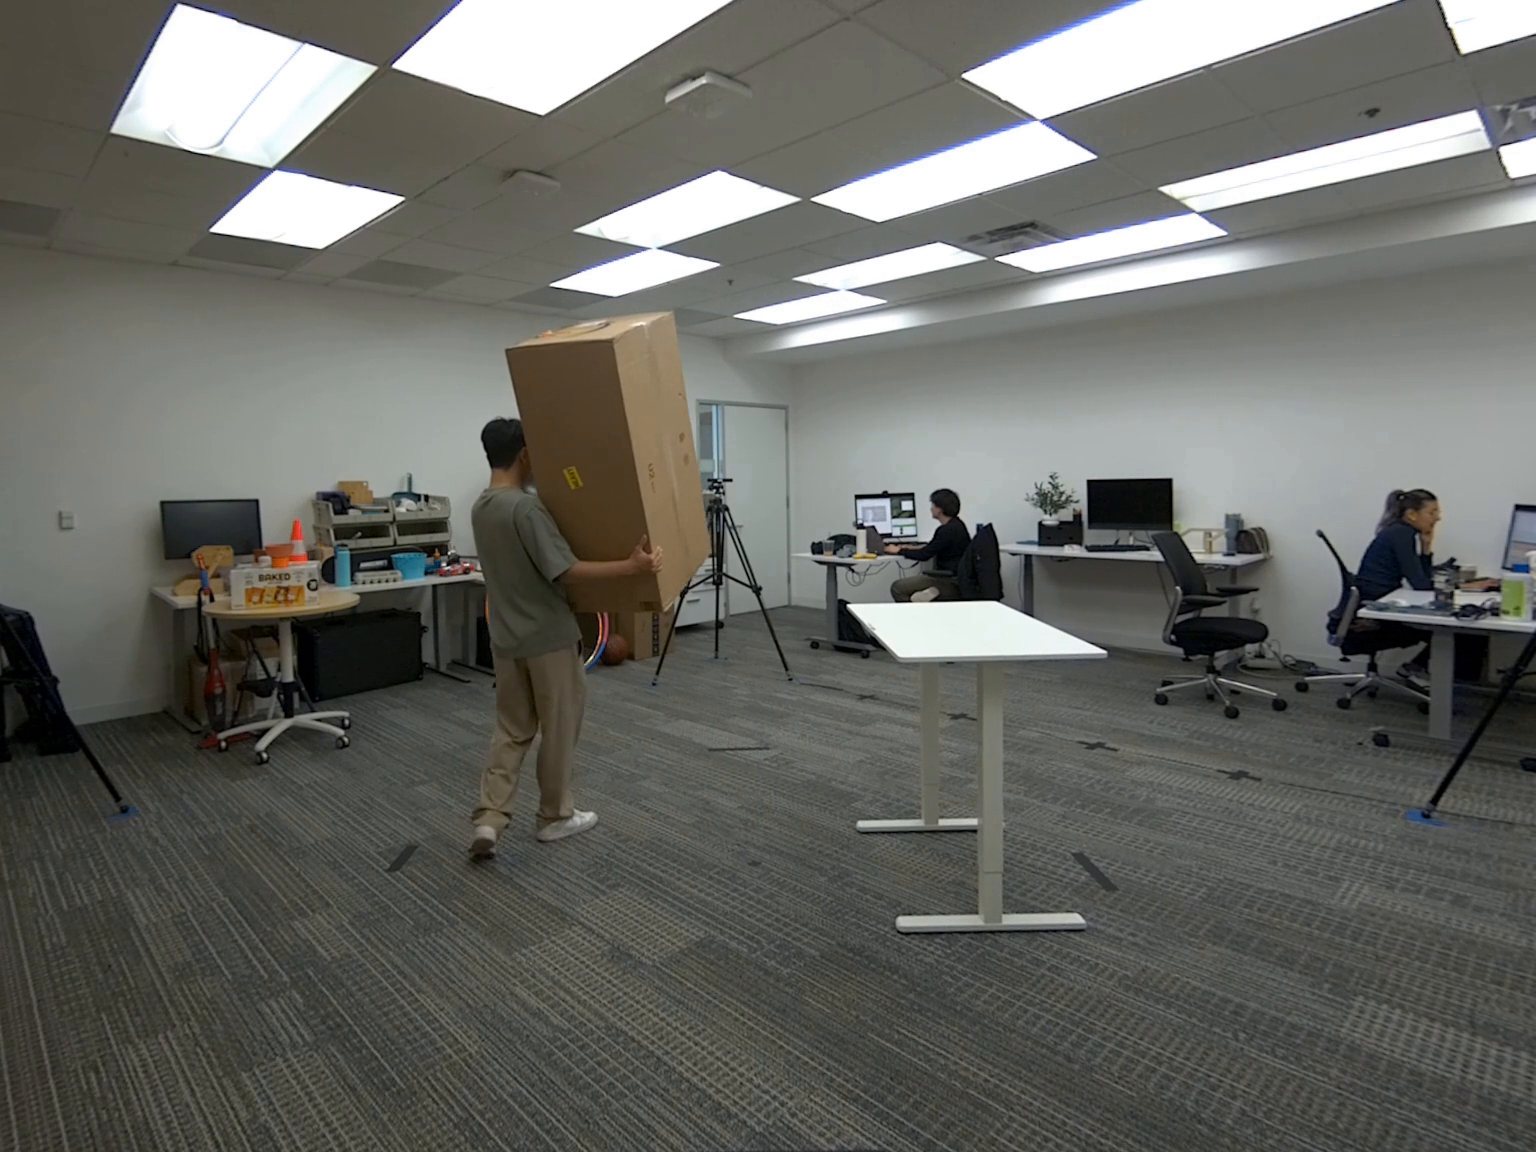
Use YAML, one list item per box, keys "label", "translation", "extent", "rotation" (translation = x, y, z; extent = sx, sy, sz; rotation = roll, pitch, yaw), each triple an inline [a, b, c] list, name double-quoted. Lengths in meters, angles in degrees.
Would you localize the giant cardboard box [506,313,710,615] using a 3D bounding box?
- label: "giant cardboard box"
  translation: [-0.578, -0.439, 3.307]
  extent: [0.434, 1.005, 0.579]
  rotation: [-1, 23, 18]
